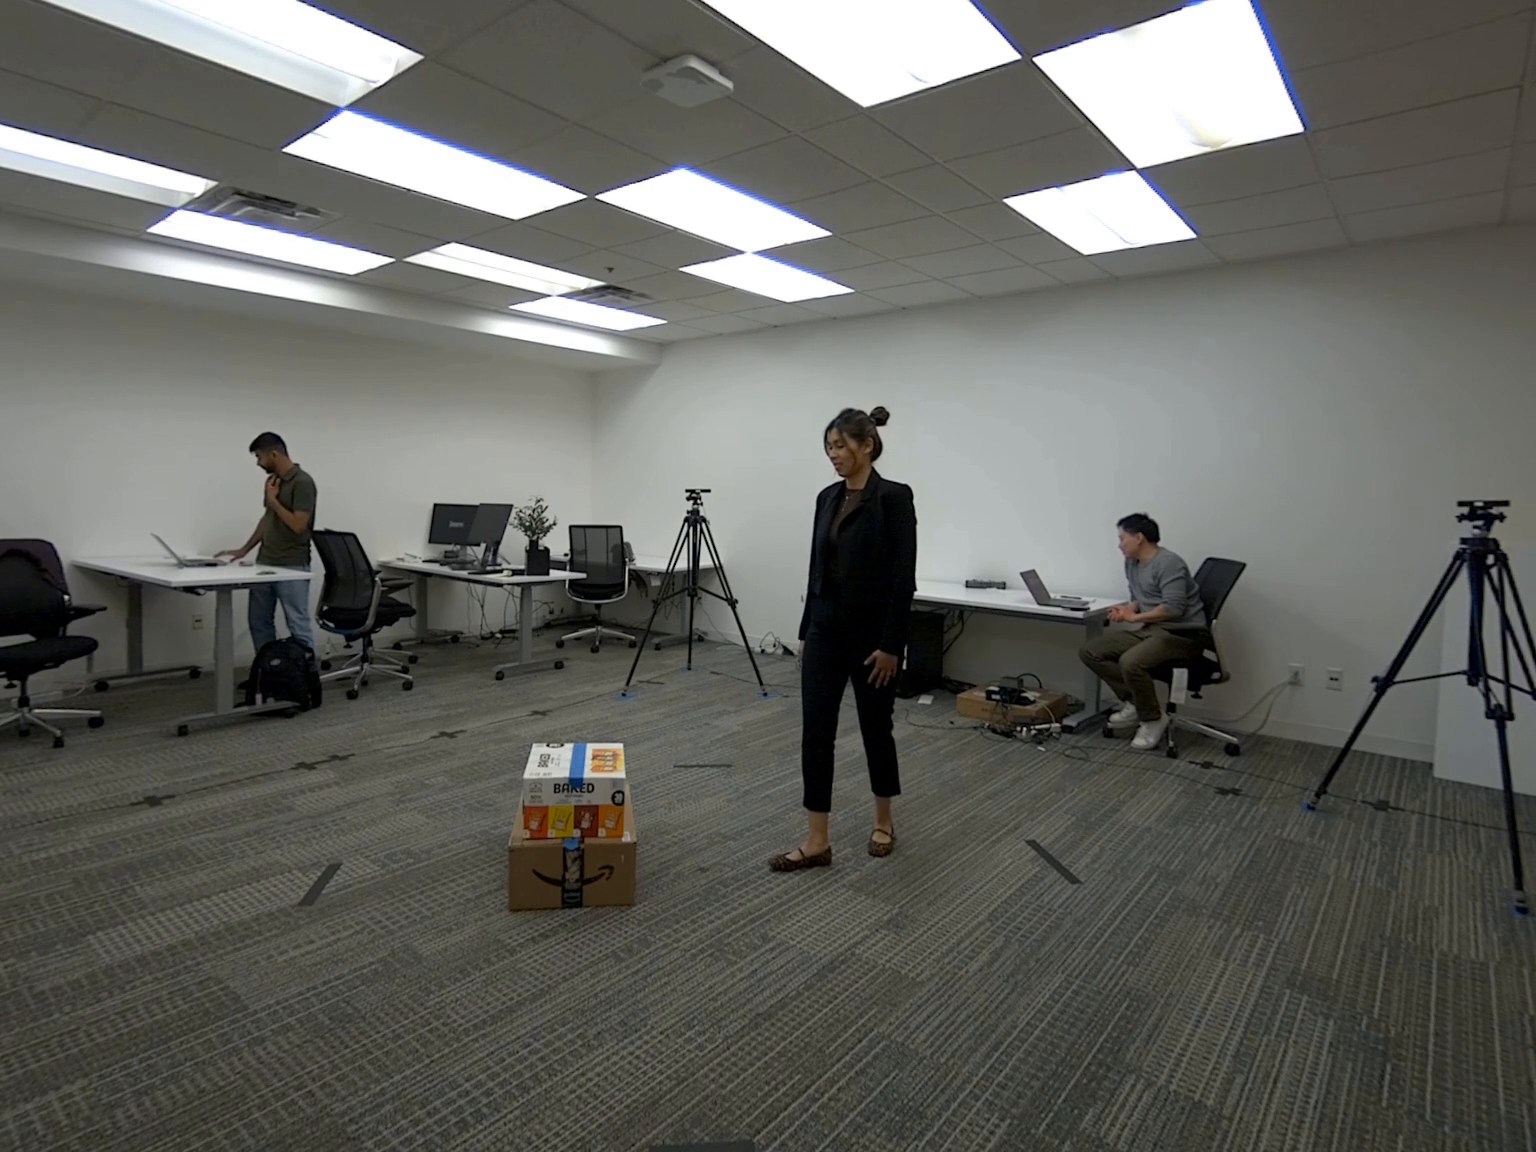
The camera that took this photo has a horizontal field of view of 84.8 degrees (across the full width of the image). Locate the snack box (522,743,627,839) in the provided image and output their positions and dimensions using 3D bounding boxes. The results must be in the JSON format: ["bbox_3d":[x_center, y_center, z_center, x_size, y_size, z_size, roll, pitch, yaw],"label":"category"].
[{"bbox_3d":[-0.697,0.754,3.038,0.337,0.205,0.410,1,5,-10],"label":"snack box"}]
